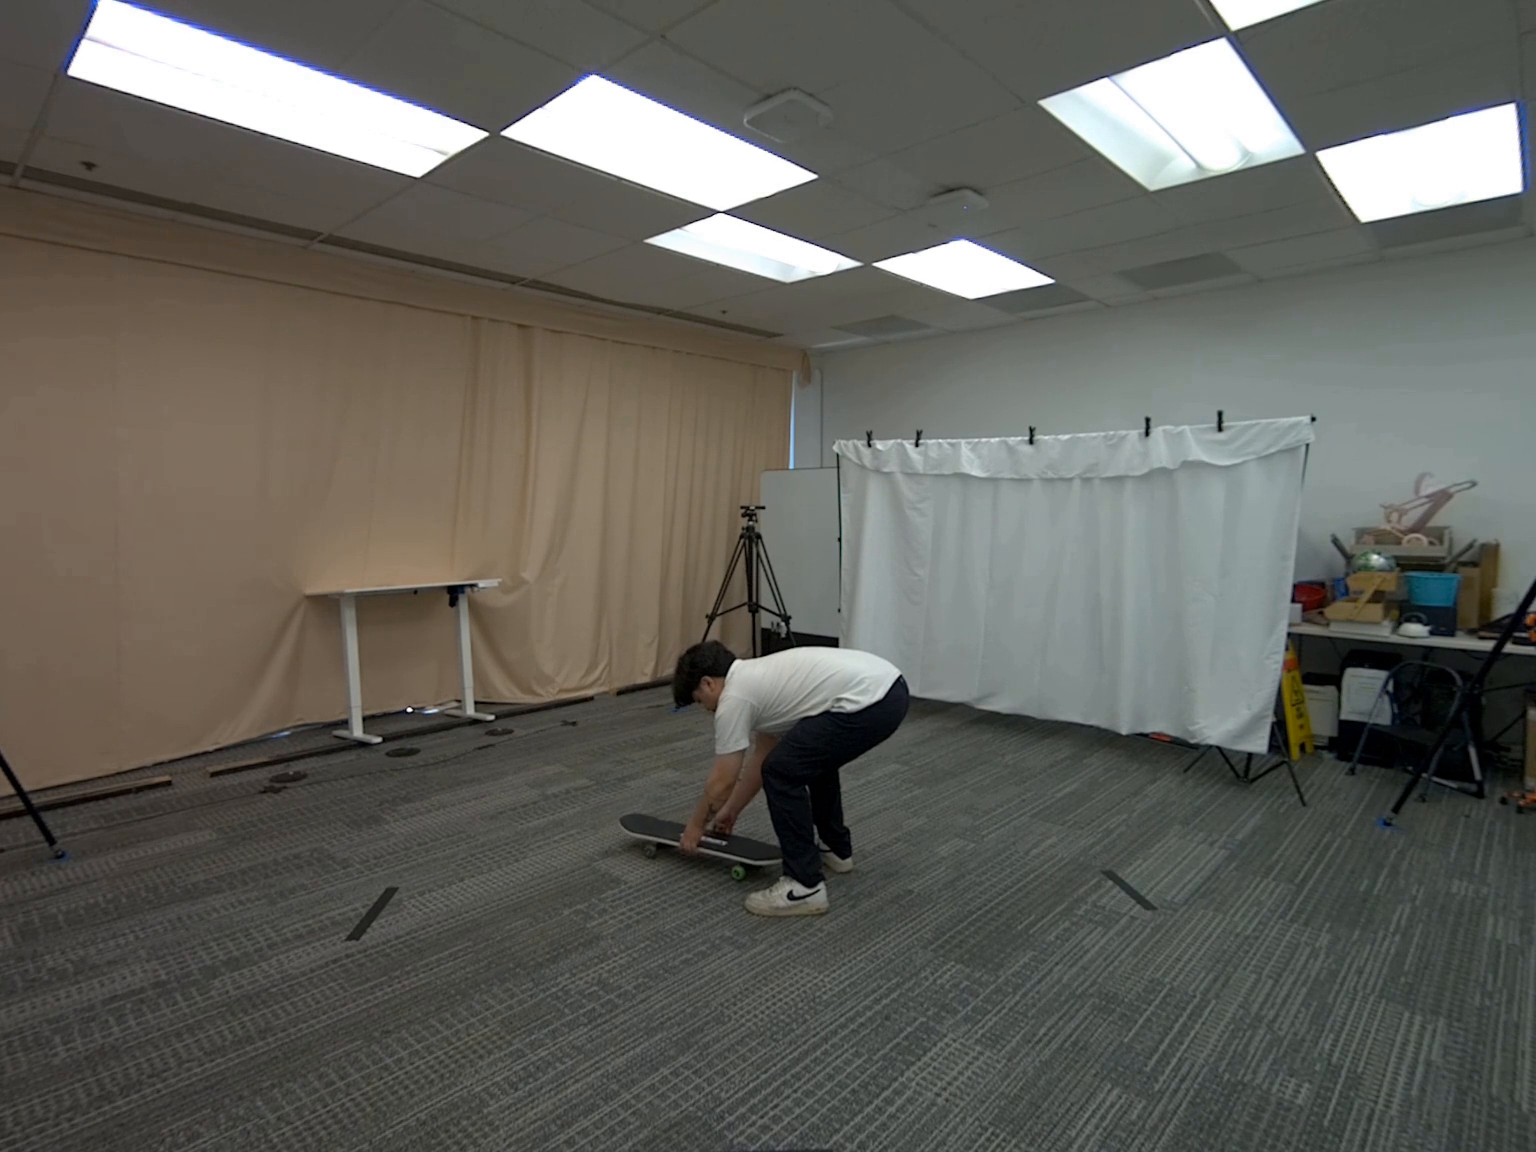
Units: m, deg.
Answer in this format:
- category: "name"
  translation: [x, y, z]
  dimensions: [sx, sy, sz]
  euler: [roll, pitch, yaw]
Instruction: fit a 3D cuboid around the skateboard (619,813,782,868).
- category: "skateboard"
  translation: [-0.249, 1.057, 3.292]
  dimensions: [0.808, 0.110, 0.188]
  euler: [2, 2, 29]
